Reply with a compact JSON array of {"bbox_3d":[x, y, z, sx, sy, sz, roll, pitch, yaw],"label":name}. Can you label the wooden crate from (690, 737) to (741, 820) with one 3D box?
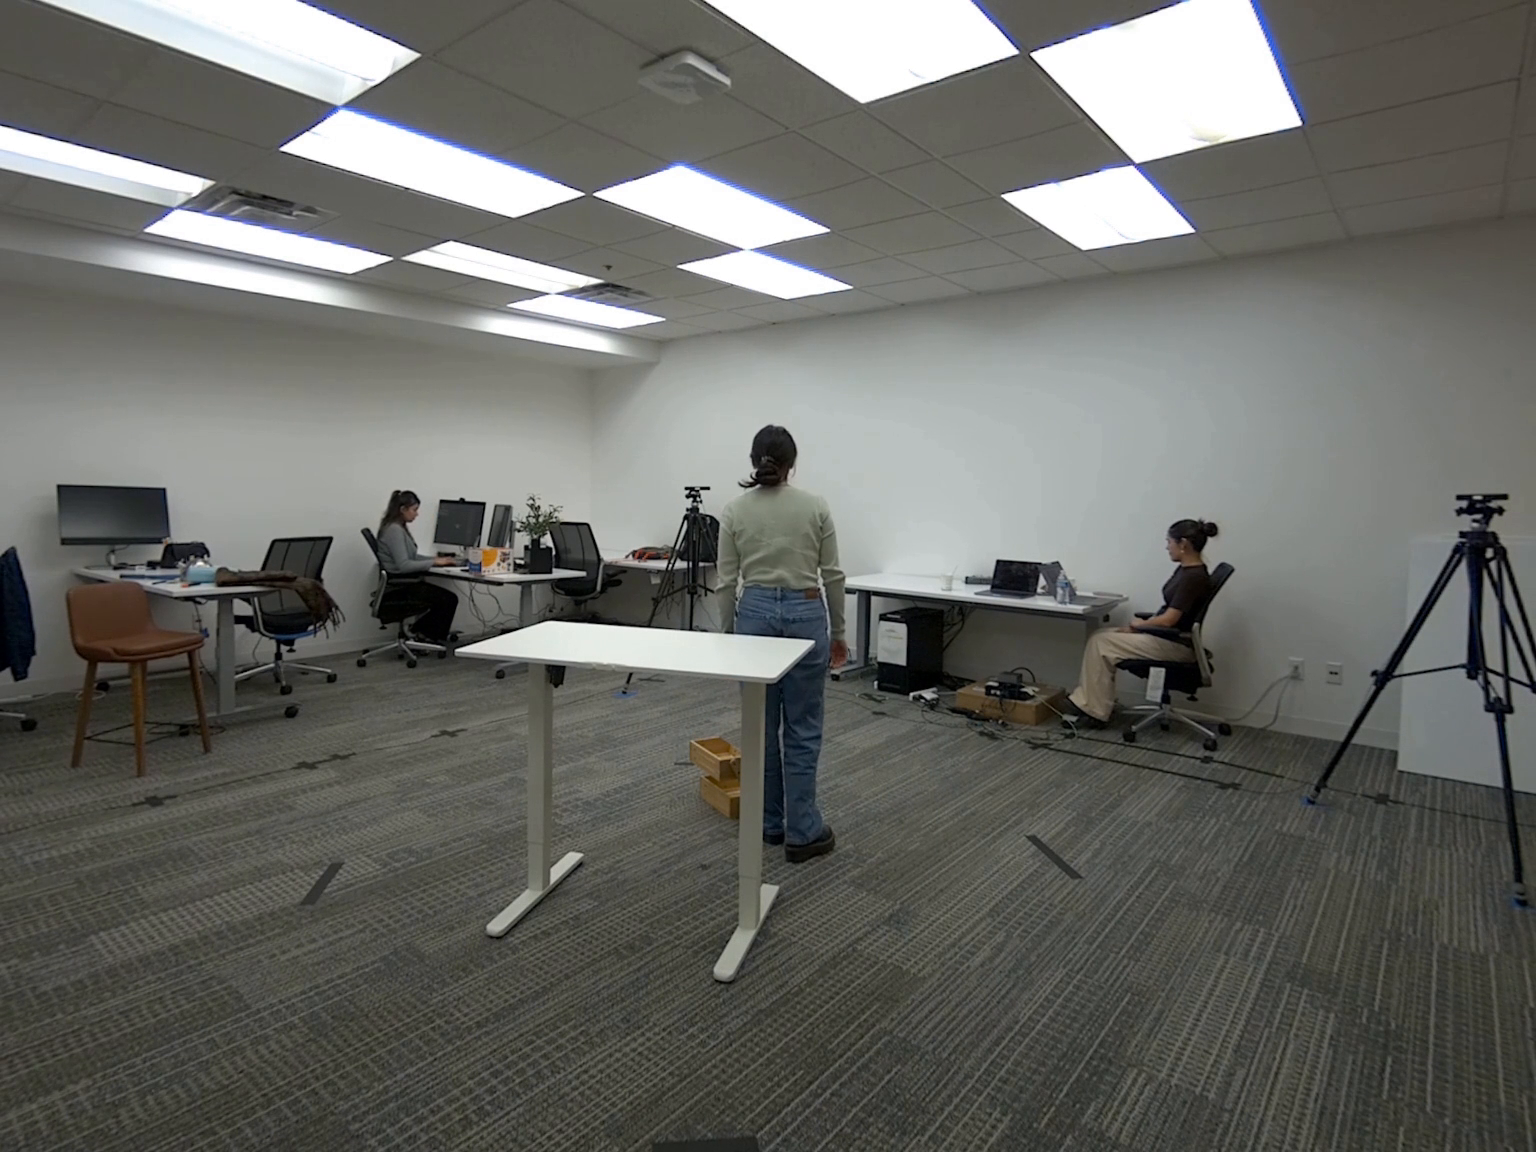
[{"bbox_3d":[-0.155,0.870,3.748,0.294,0.272,0.334,-2,5,-29],"label":"wooden crate"}]
